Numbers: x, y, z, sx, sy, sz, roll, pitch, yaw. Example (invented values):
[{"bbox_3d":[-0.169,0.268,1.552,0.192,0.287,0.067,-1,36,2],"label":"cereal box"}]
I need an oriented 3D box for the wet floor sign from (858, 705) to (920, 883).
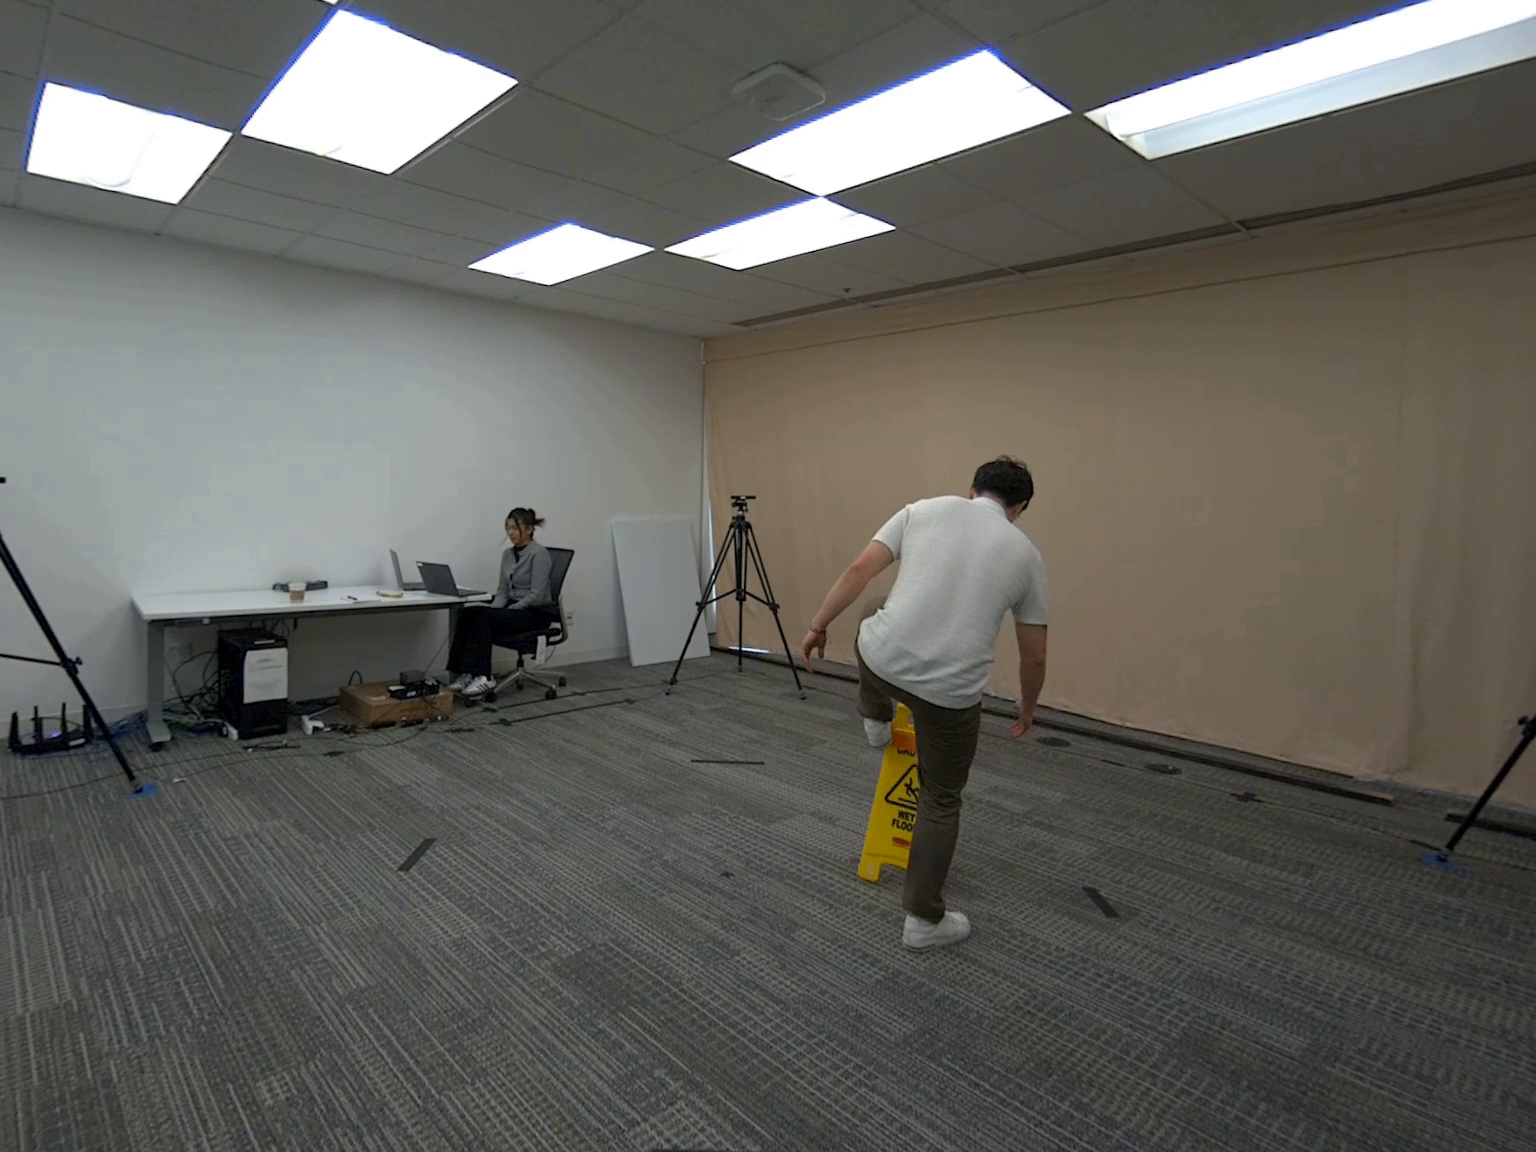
[{"bbox_3d":[0.545,0.788,3.108,0.288,0.644,0.284,9,6,25],"label":"wet floor sign"}]
